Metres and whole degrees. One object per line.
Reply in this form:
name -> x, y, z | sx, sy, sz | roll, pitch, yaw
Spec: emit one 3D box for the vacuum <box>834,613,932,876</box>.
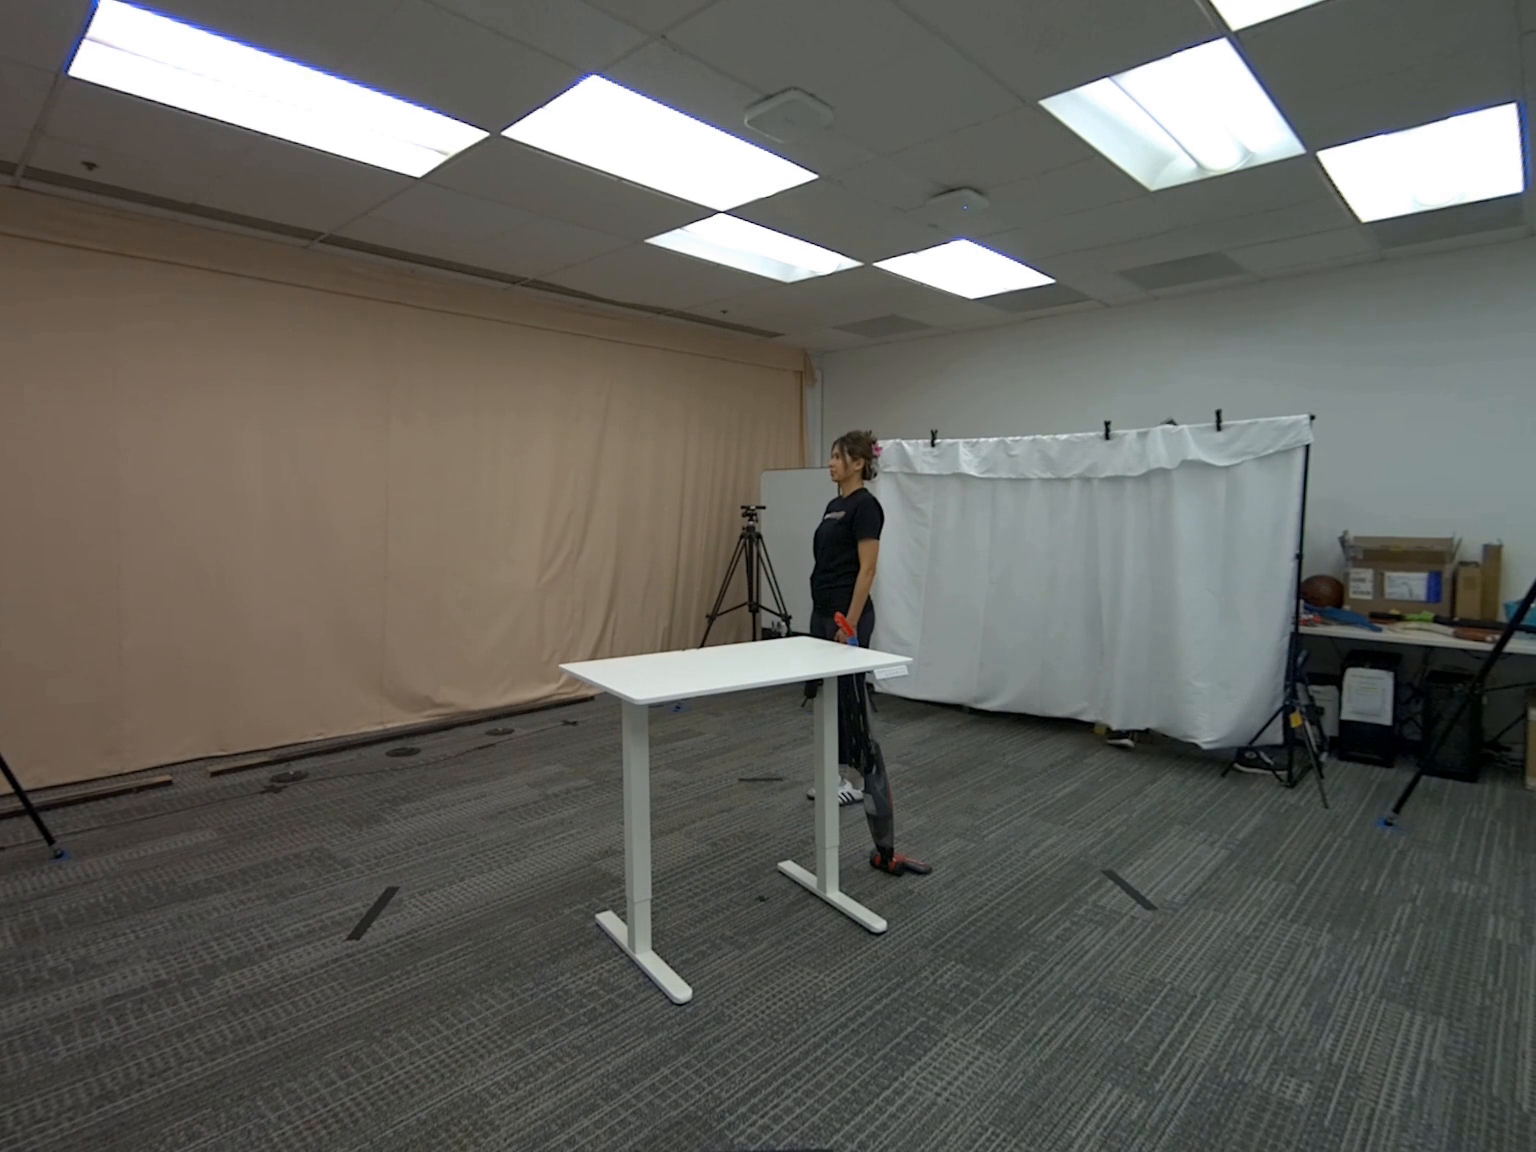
vacuum -> 0.373, 0.637, 3.116 | 0.261, 1.036, 0.141 | 0, 20, 41
